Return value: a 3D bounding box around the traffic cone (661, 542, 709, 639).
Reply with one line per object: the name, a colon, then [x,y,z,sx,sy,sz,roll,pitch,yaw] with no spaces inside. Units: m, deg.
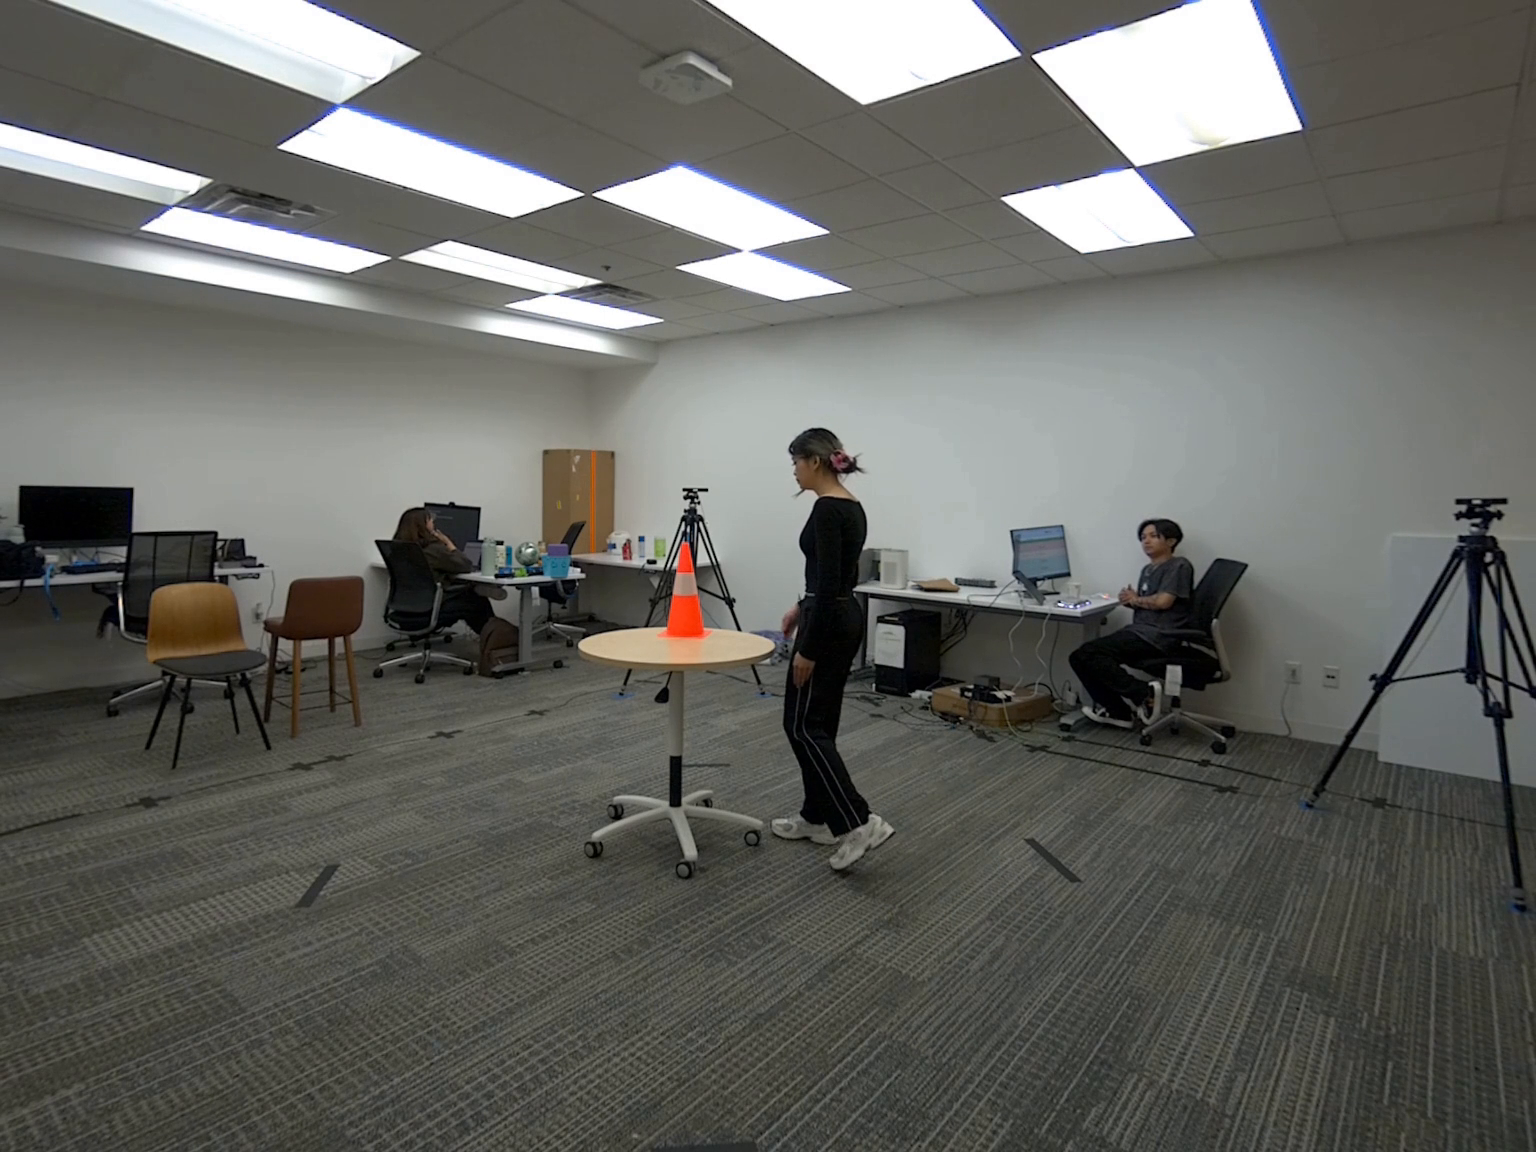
traffic cone: [-0.354,0.050,3.551,0.205,0.383,0.203,2,1,8]
